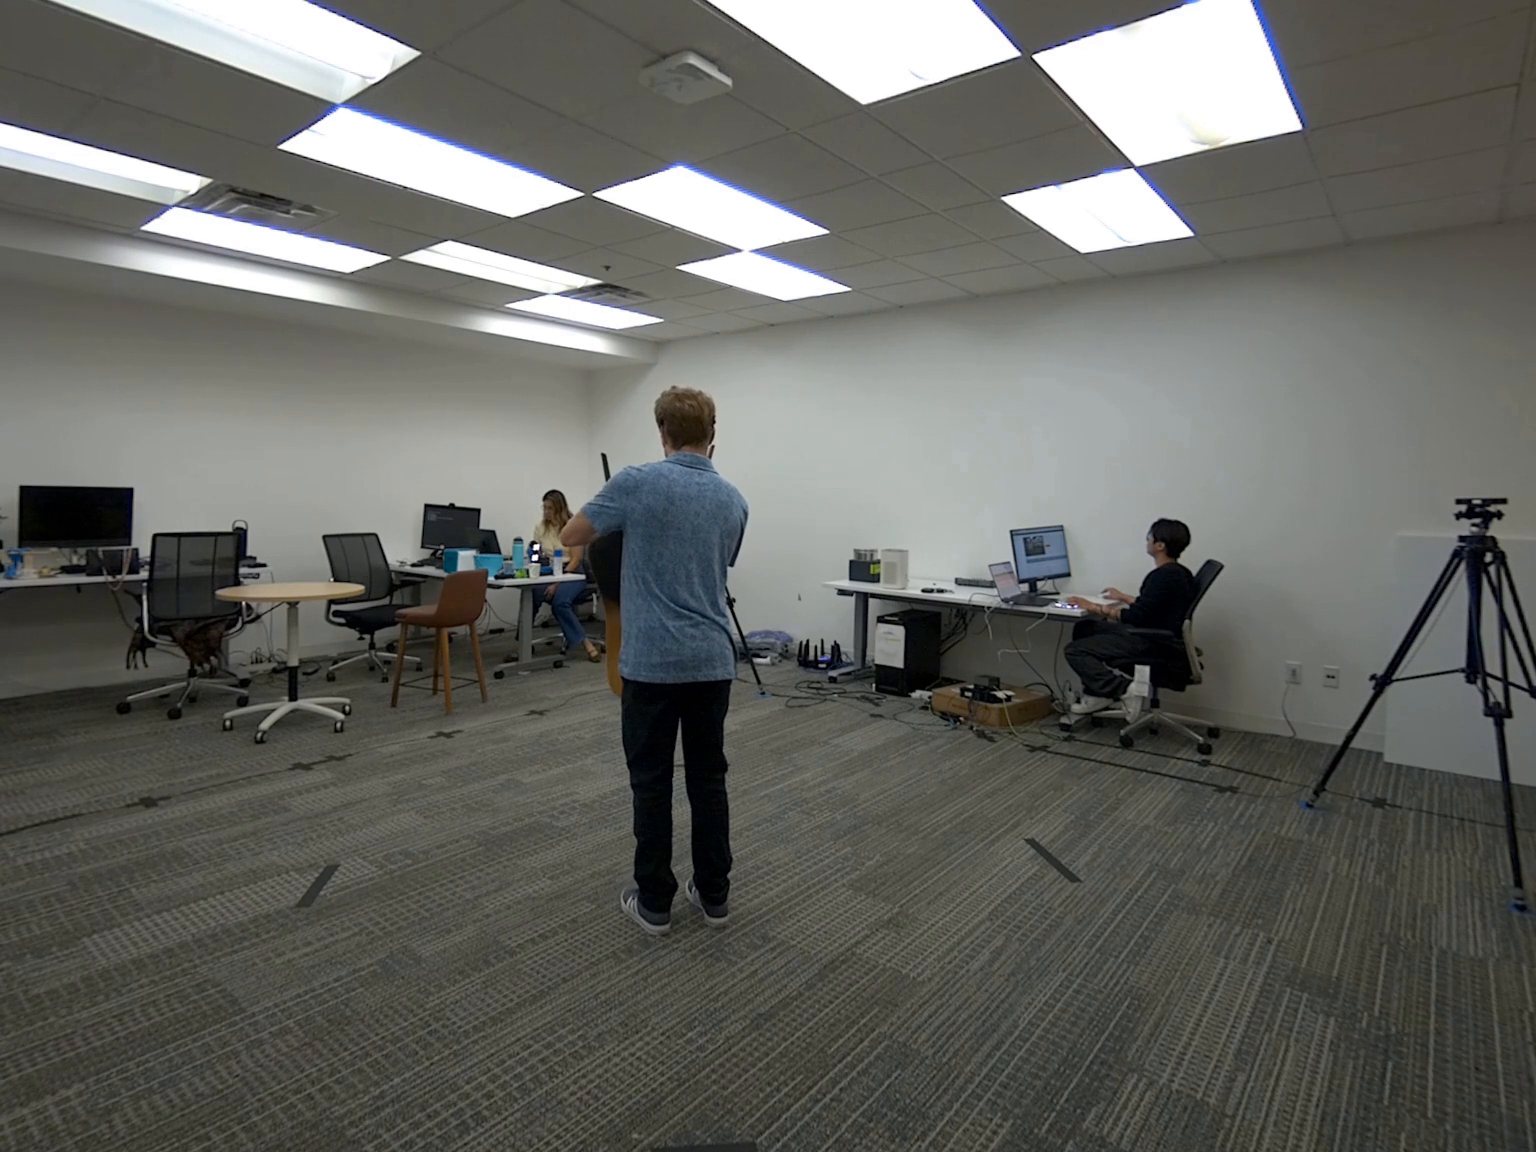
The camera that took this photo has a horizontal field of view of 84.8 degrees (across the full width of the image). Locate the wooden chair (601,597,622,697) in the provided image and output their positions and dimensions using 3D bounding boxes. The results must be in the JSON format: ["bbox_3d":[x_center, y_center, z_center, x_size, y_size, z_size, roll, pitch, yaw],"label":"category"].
[{"bbox_3d":[-0.431,-0.027,3.202,0.481,0.901,0.506,-3,-36,5],"label":"wooden chair"}]
